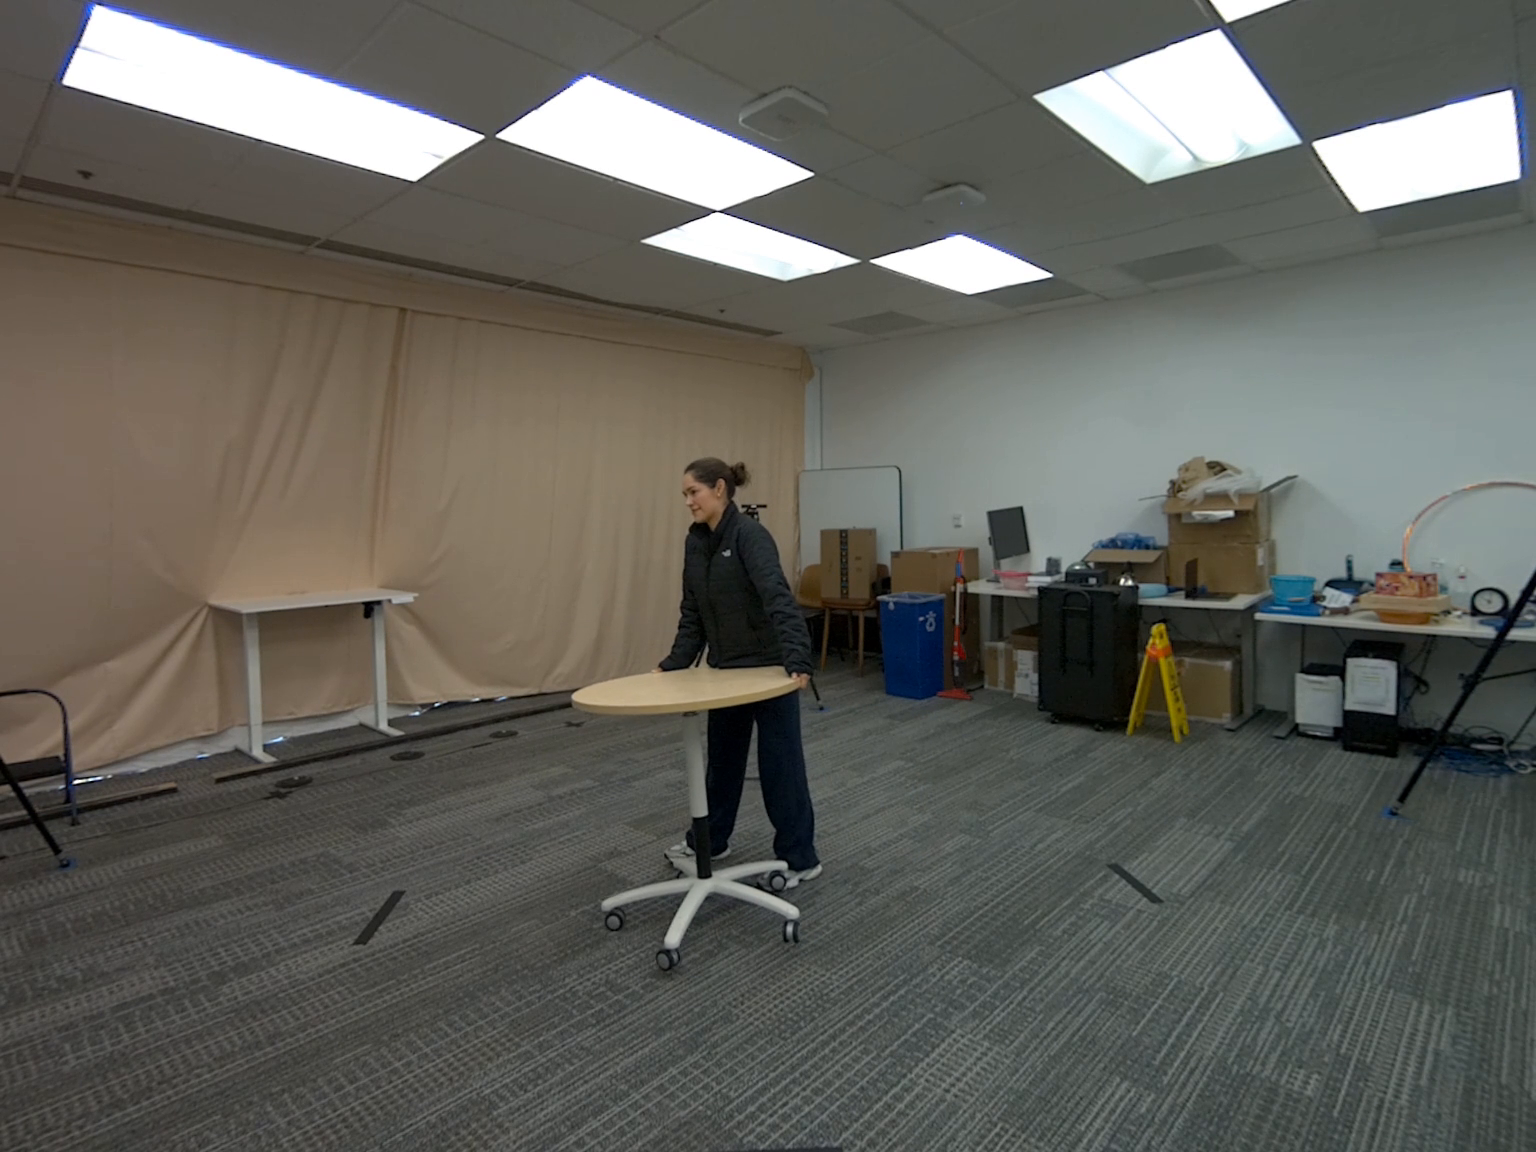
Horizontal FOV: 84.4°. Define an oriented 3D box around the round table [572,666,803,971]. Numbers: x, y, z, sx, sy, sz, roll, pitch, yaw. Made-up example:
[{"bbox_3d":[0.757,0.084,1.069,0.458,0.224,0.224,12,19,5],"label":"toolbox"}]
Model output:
[{"bbox_3d":[-0.232,0.743,2.809,0.784,0.786,0.786,-4,1,-2],"label":"round table"}]
